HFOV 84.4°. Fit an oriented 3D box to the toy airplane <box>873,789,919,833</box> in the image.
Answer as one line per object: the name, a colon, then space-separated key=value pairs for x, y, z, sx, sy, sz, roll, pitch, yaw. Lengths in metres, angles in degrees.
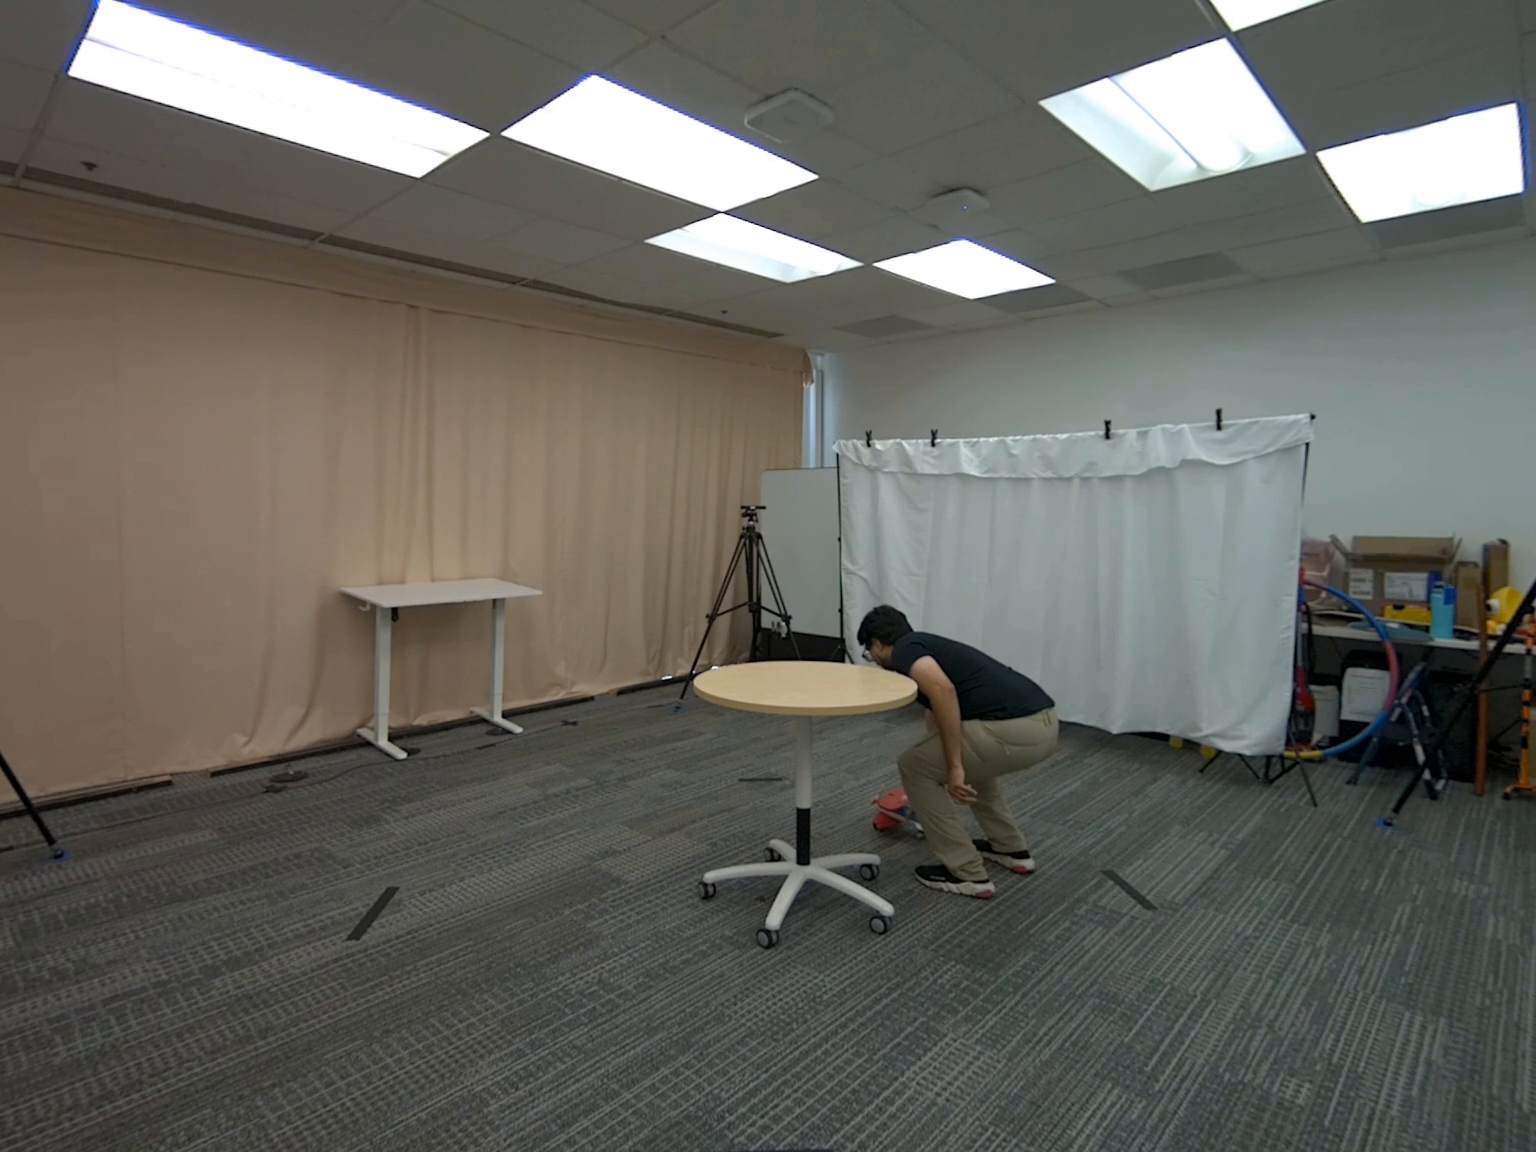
toy airplane: x=0.584 y=1.020 z=3.611 sx=0.262 sy=0.156 sz=0.249 roll=0 pitch=5 yaw=8
